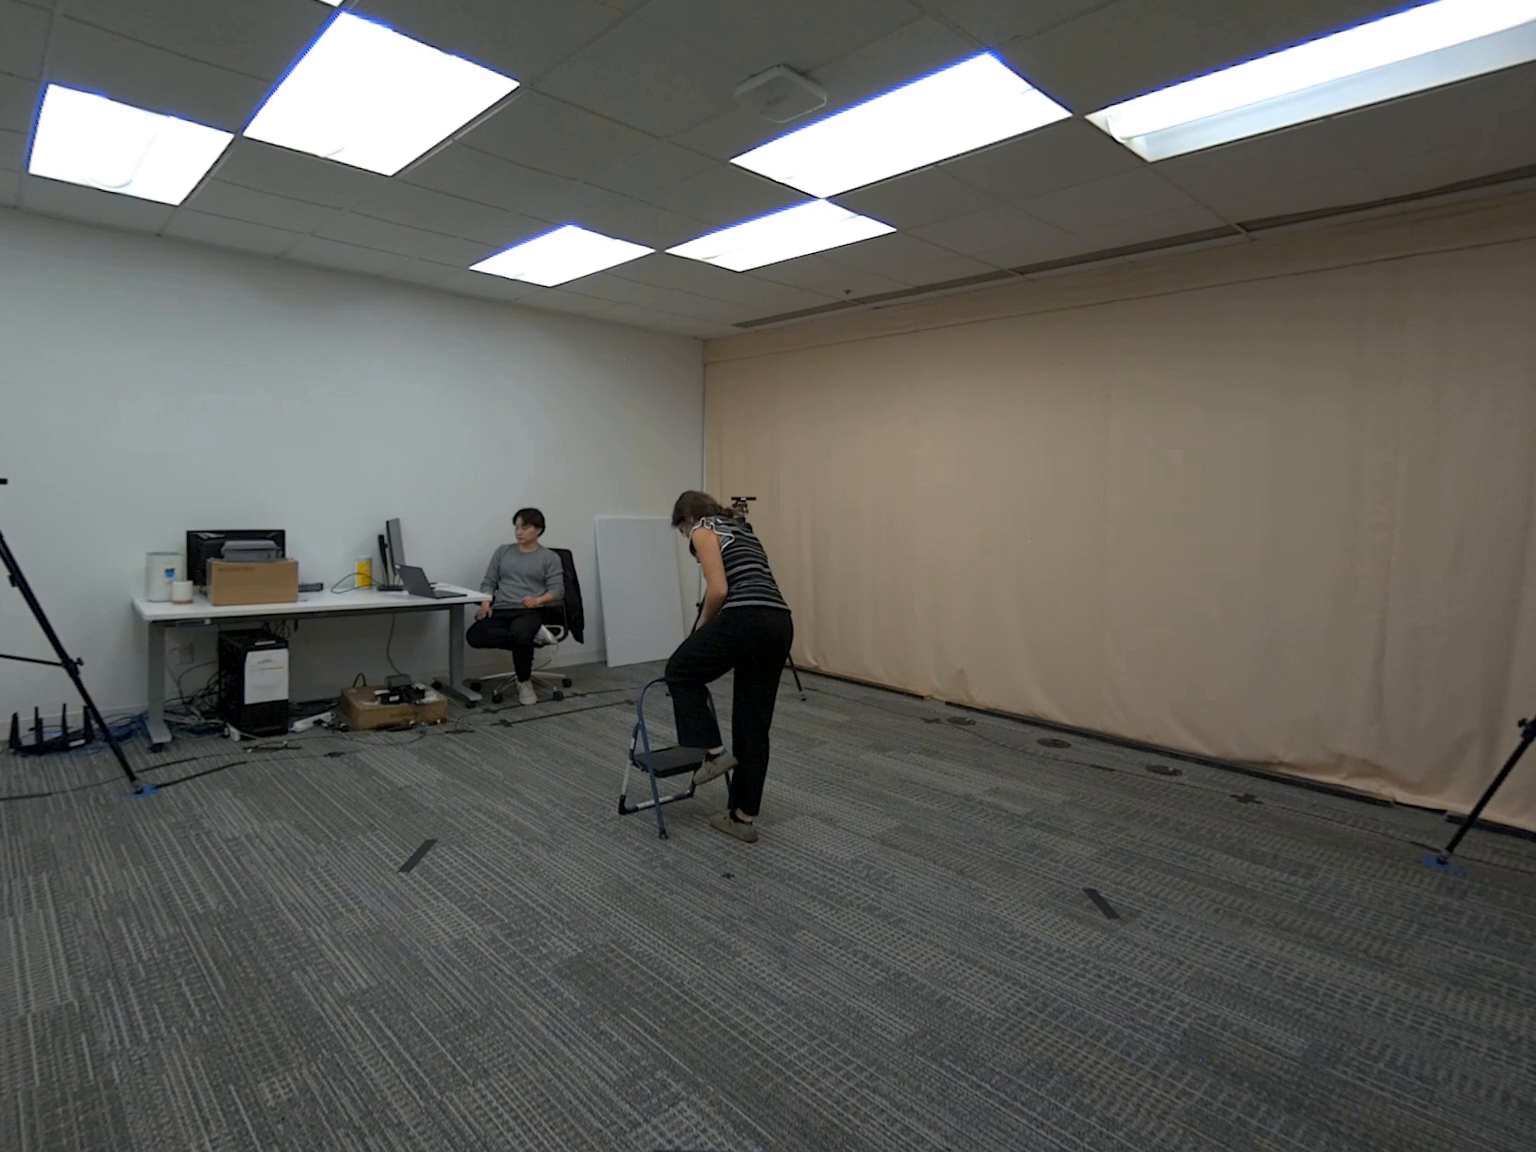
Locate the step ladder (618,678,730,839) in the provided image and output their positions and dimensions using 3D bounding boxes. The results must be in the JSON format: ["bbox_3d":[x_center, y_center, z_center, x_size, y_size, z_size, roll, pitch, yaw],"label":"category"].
[{"bbox_3d":[-0.392,0.750,3.681,0.420,0.605,0.358,-1,4,-43],"label":"step ladder"}]
